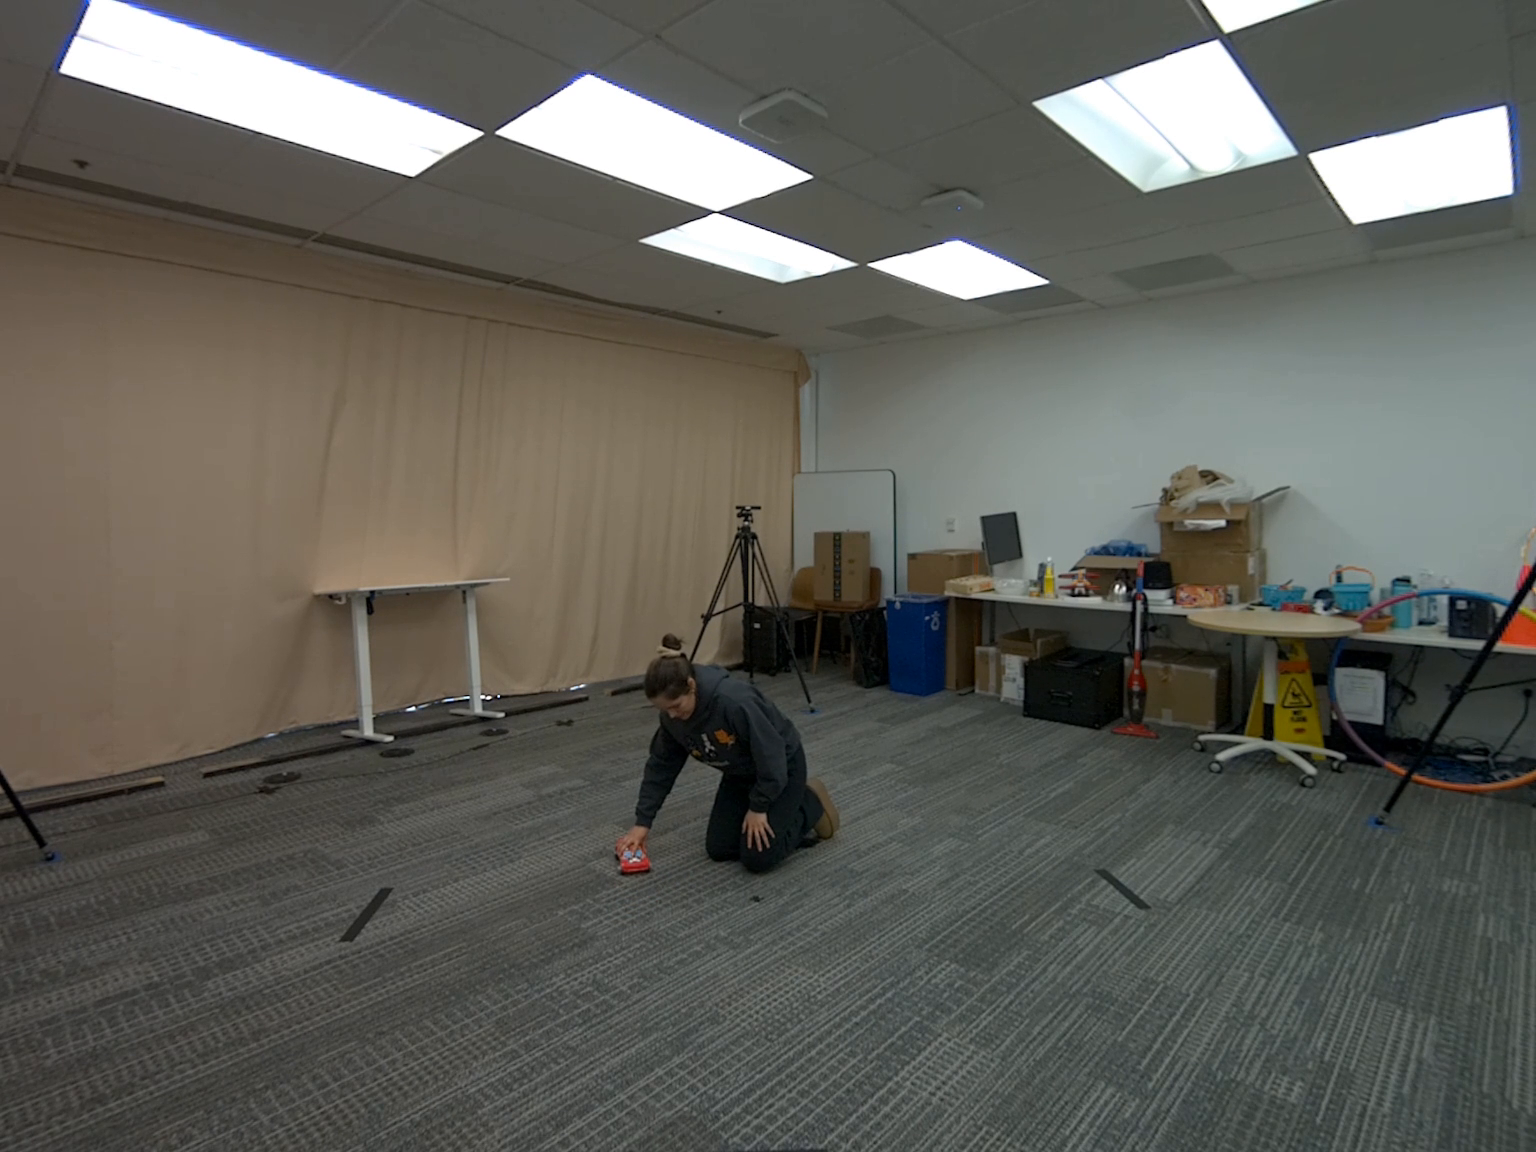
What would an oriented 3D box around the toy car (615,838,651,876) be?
[{"bbox_3d":[-0.507,1.095,3.297,0.128,0.082,0.261,-2,15,-16],"label":"toy car"}]
